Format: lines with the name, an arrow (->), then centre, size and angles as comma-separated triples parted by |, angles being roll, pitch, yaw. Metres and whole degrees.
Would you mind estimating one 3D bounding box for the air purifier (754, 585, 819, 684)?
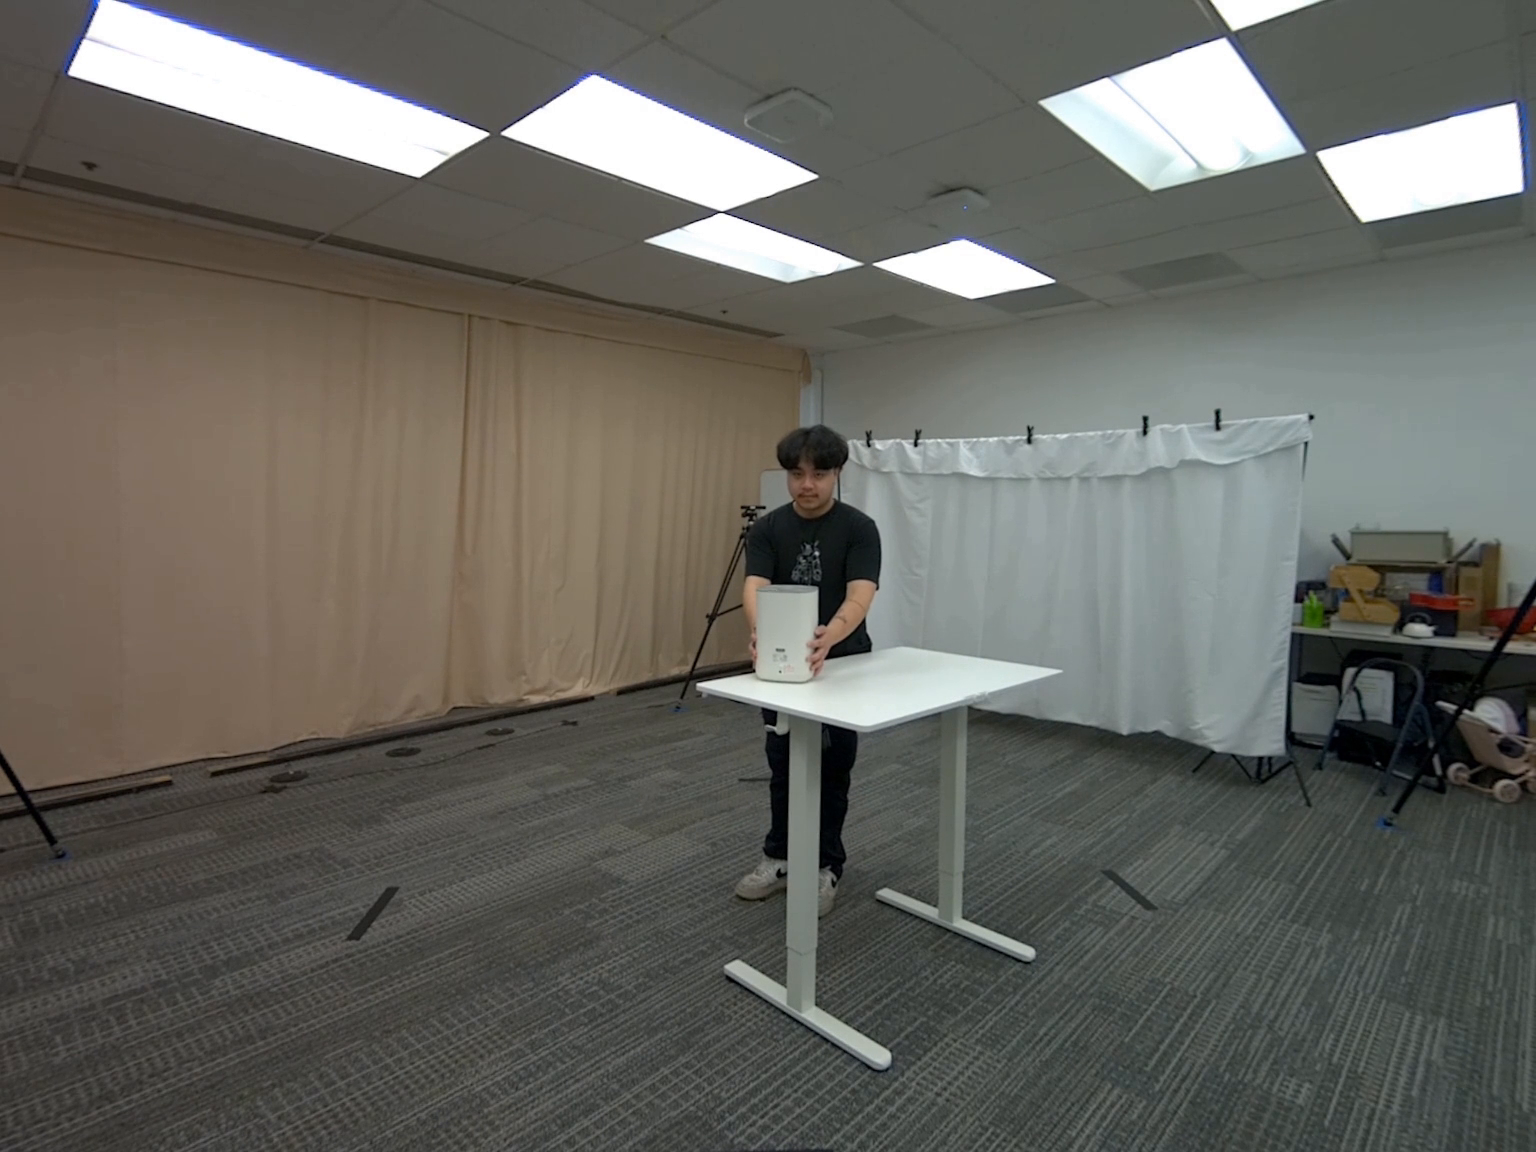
air purifier -> 0.059, 0.167, 2.473 | 0.174, 0.265, 0.169 | 2, 2, 14
